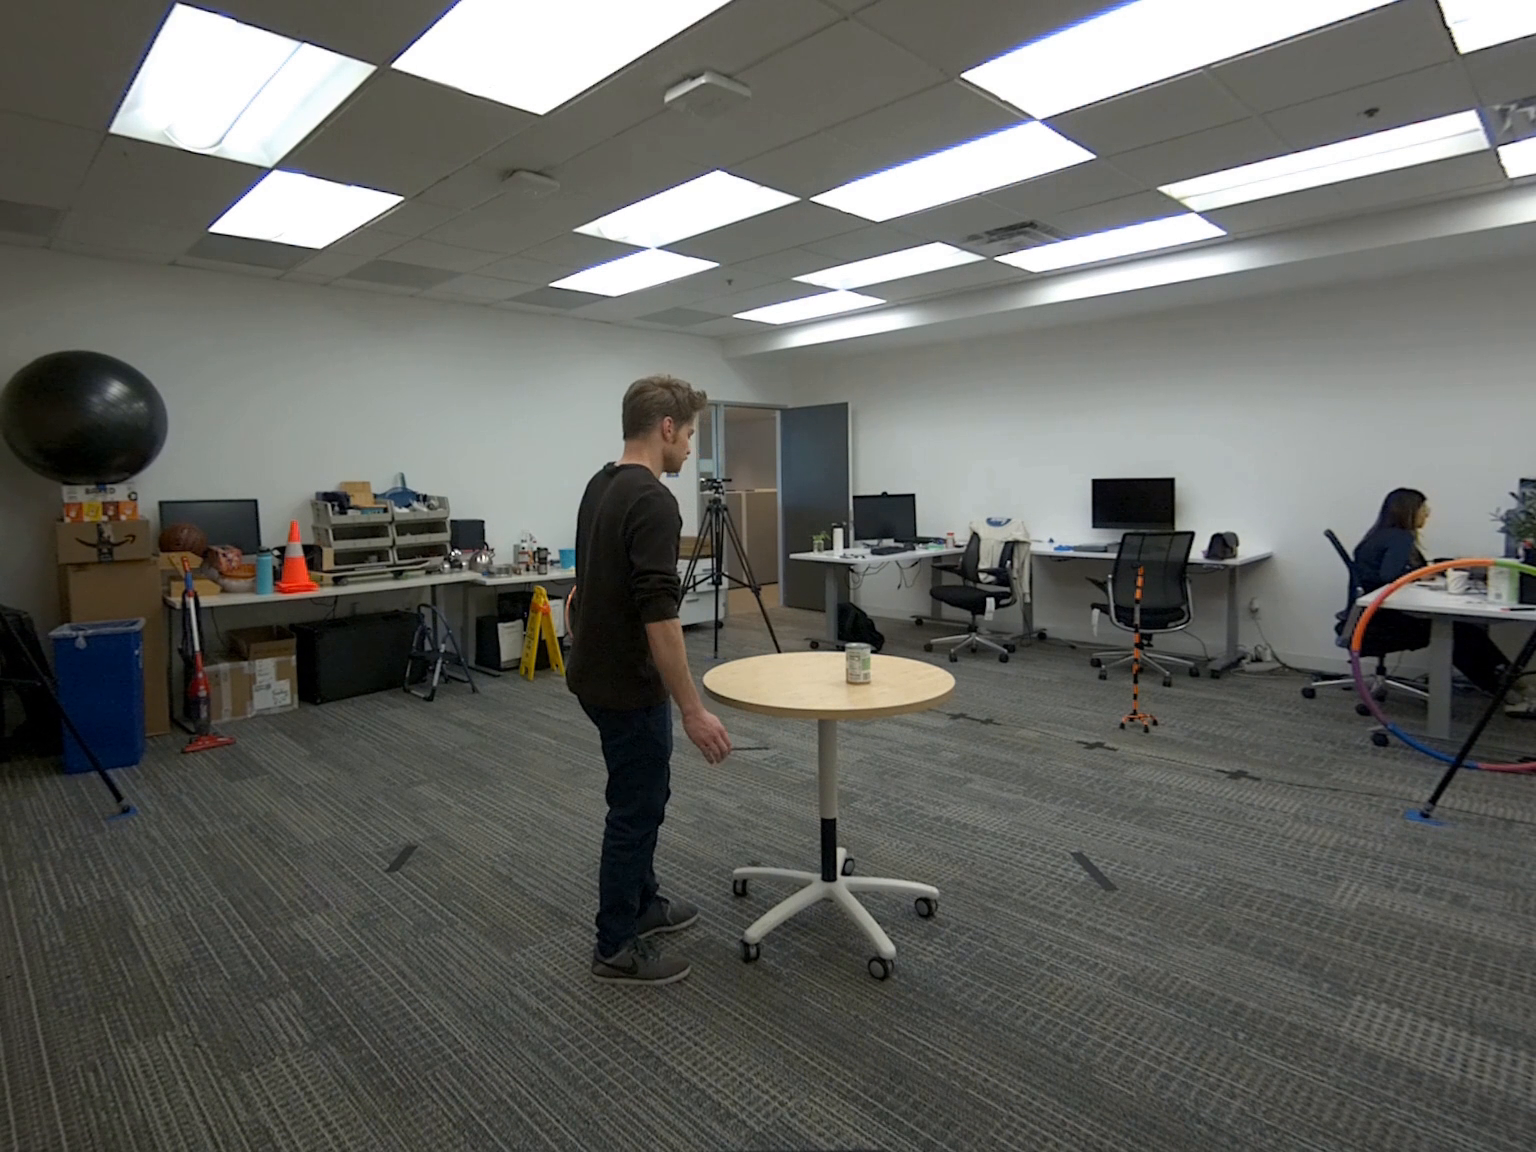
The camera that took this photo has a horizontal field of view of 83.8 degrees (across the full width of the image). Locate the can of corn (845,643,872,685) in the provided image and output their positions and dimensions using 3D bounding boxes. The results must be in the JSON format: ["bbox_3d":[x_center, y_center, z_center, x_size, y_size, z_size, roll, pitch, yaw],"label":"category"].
[{"bbox_3d":[0.270,0.261,2.544,0.074,0.110,0.075,-2,8,-1],"label":"can of corn"}]
